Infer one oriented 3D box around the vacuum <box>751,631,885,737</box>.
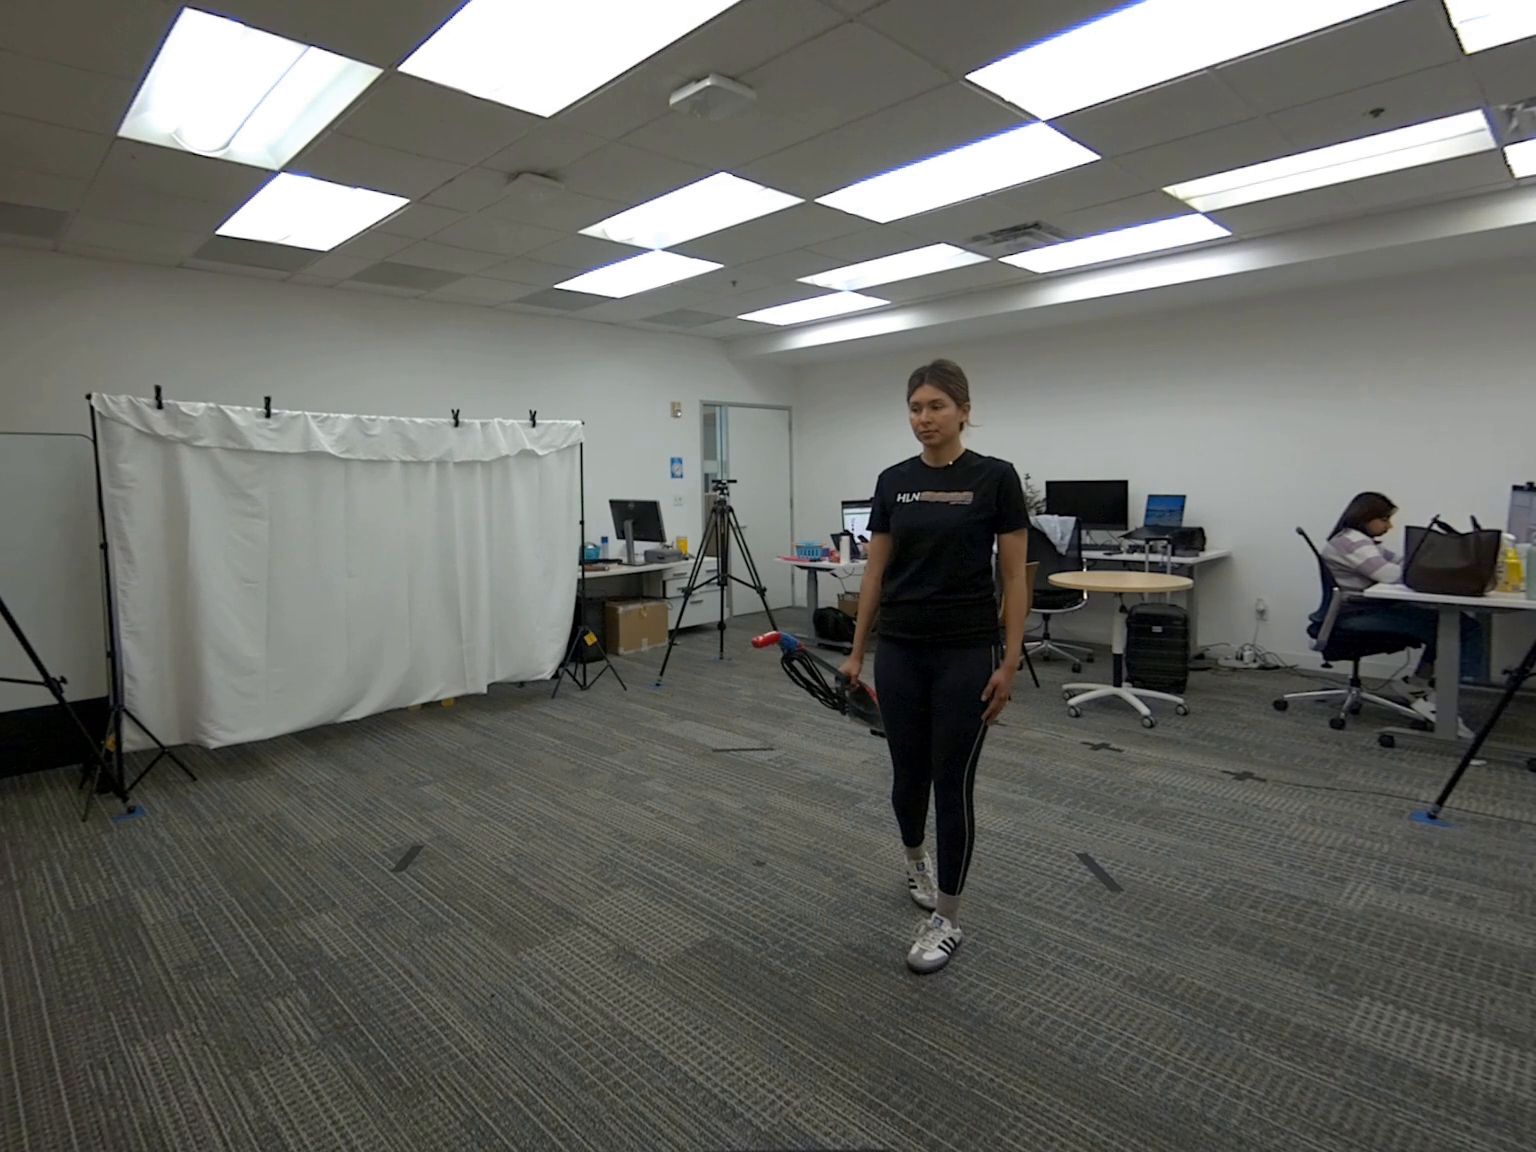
[{"bbox_3d":[0.212,0.347,2.593,0.259,0.146,1.010,2,-19,30],"label":"vacuum"}]
